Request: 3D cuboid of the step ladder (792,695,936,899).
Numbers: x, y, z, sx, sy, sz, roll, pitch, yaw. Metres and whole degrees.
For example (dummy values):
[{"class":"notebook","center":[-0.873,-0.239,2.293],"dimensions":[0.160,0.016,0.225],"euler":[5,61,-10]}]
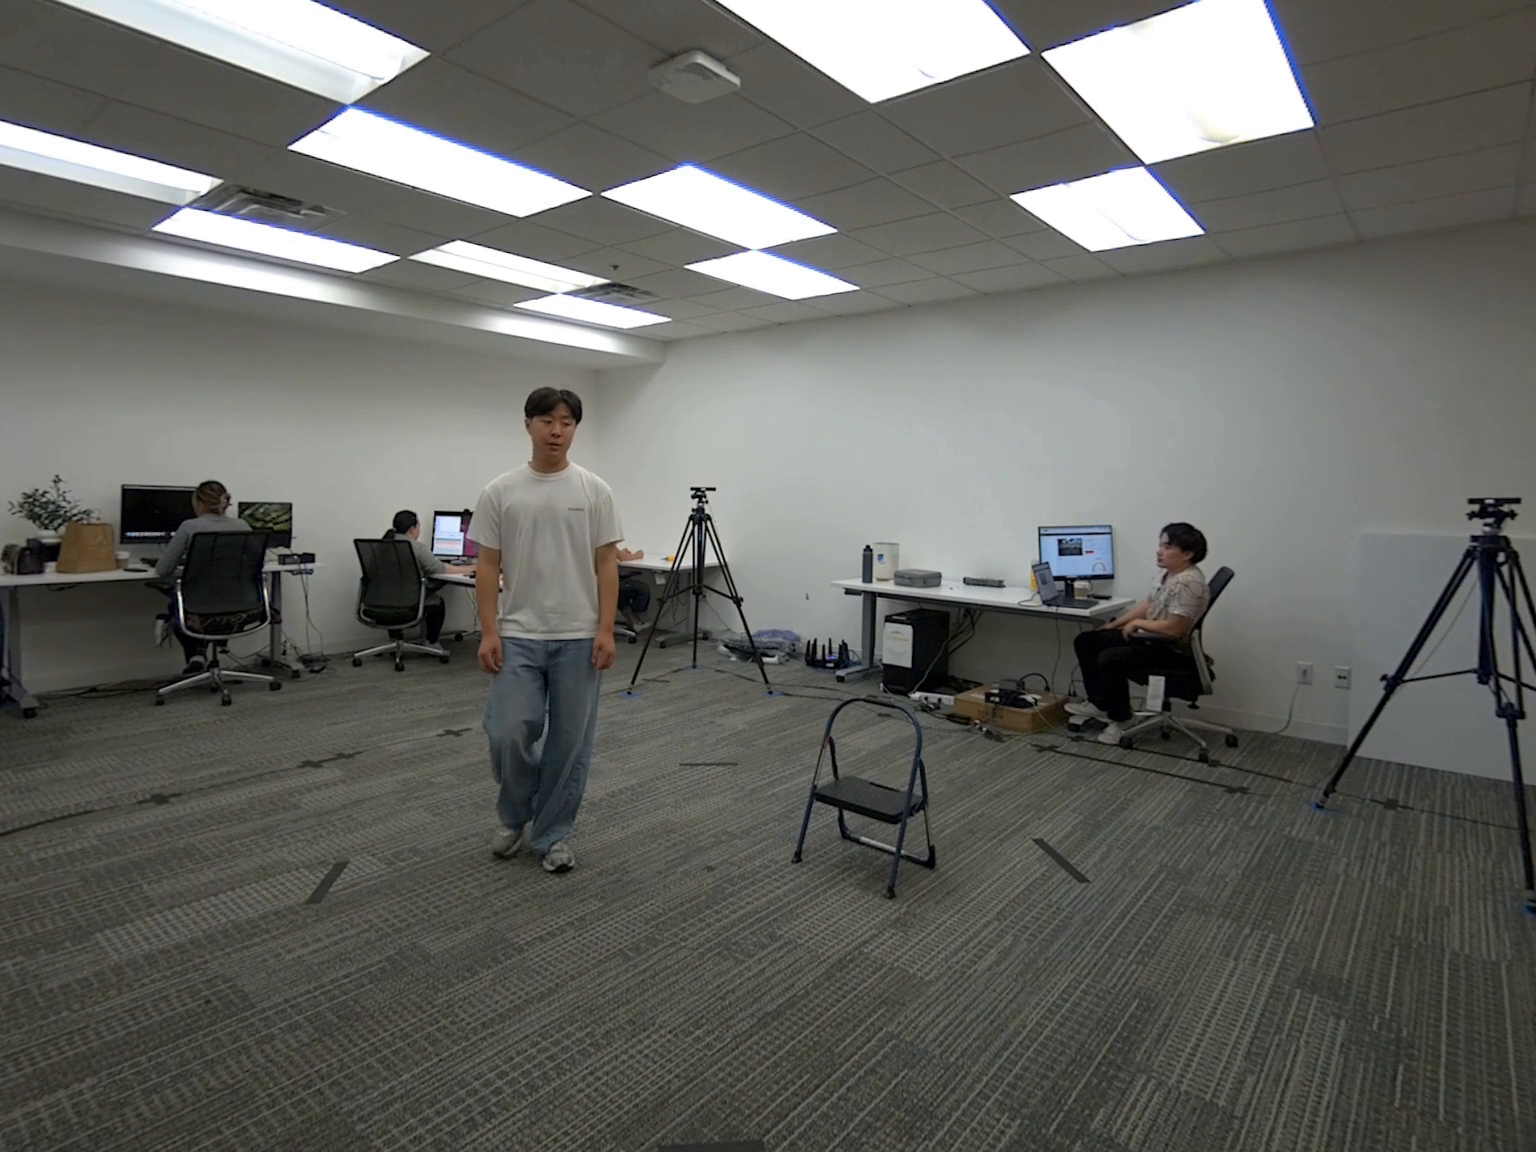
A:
[{"class":"step ladder","center":[0.363,0.772,3.154],"dimensions":[0.445,0.604,0.339],"euler":[5,5,39]}]
